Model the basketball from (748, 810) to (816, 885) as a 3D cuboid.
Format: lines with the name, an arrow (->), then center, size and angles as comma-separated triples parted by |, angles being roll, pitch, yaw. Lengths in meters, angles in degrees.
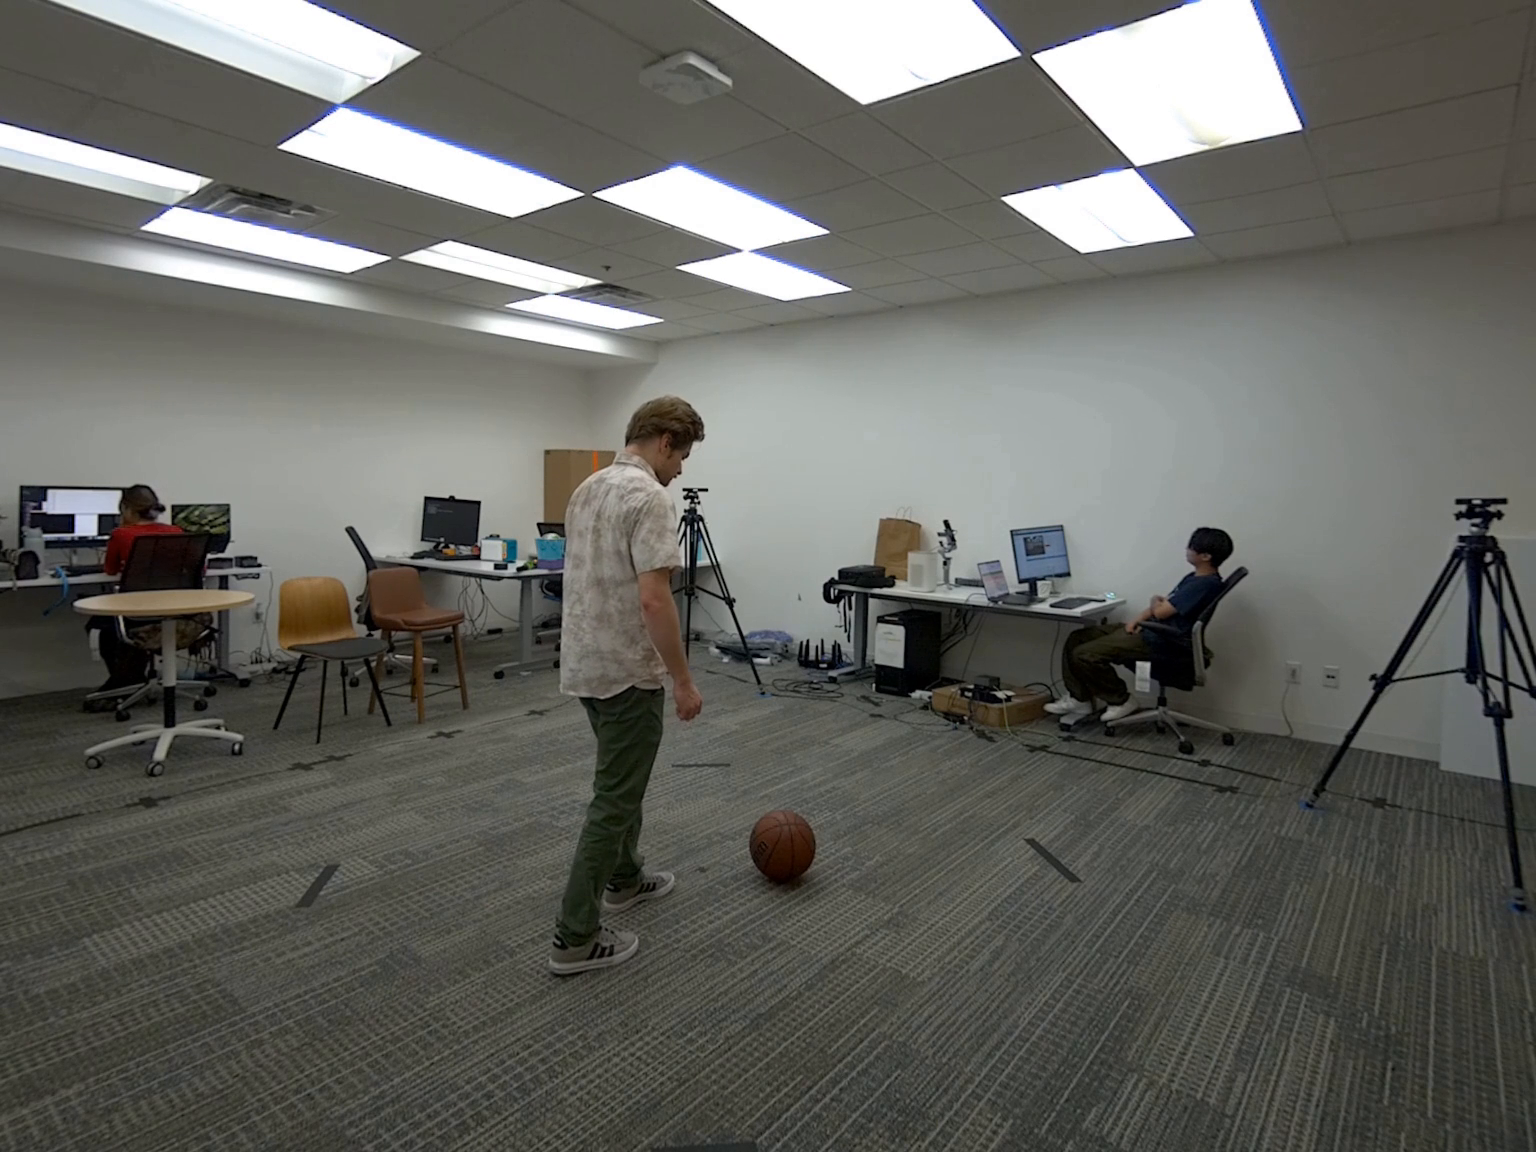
basketball -> 0.041, 0.954, 3.050 | 0.235, 0.235, 0.237 | 1, 4, -2
